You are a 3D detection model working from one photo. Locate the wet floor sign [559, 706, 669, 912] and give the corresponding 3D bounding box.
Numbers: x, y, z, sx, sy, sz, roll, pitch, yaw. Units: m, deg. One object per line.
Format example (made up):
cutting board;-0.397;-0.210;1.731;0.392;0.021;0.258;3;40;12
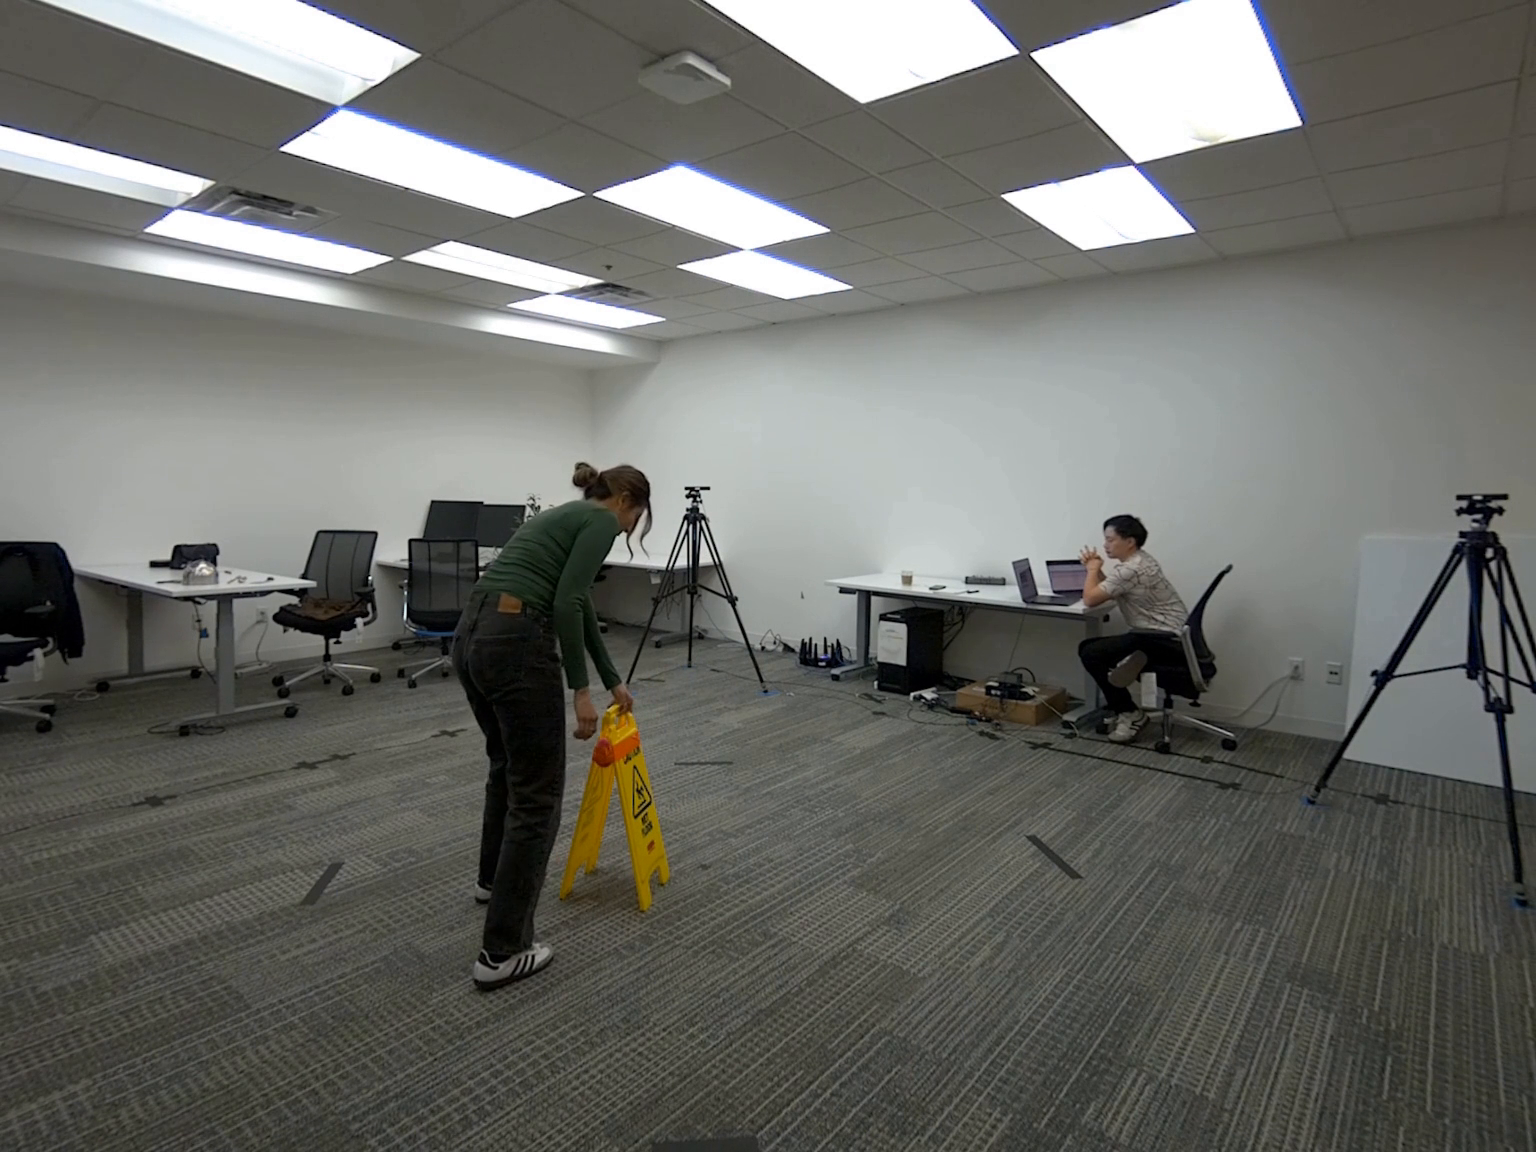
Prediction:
wet floor sign;-0.527;0.751;2.928;0.294;0.644;0.278;2;3;14
